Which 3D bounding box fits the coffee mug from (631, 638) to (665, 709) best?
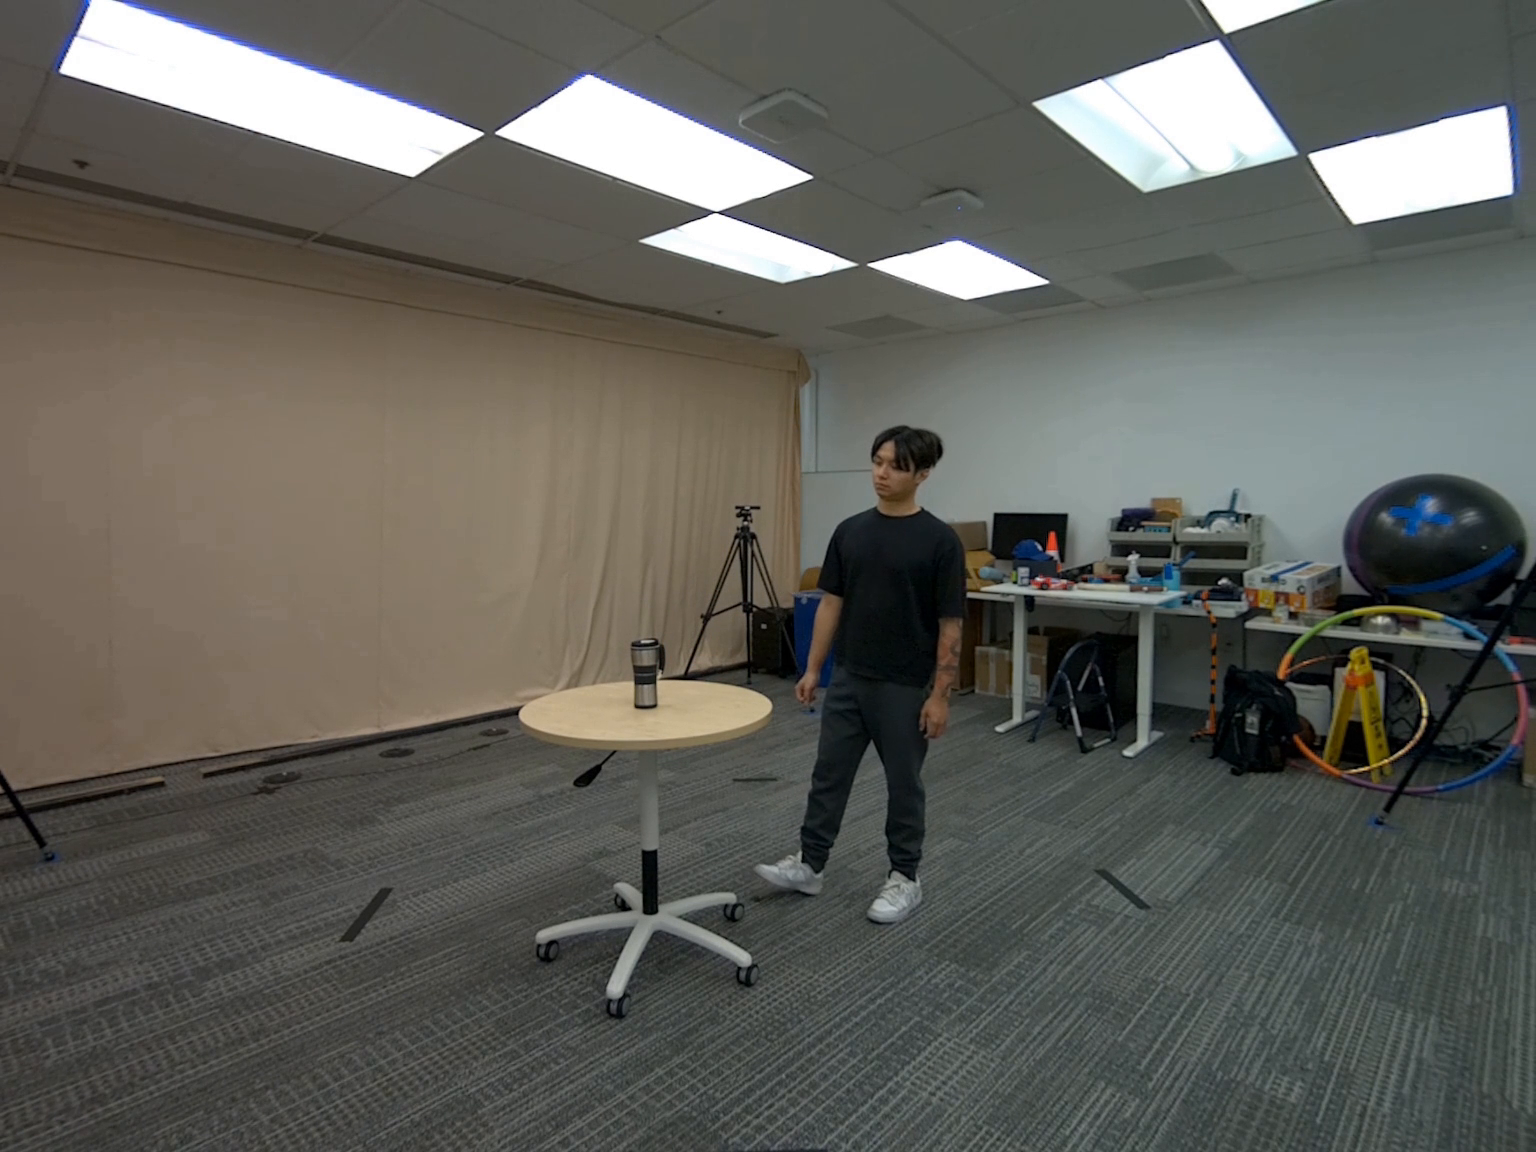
[{"bbox_3d":[-0.354,0.297,2.572,0.119,0.203,0.090,-6,-1,-33],"label":"coffee mug"}]
